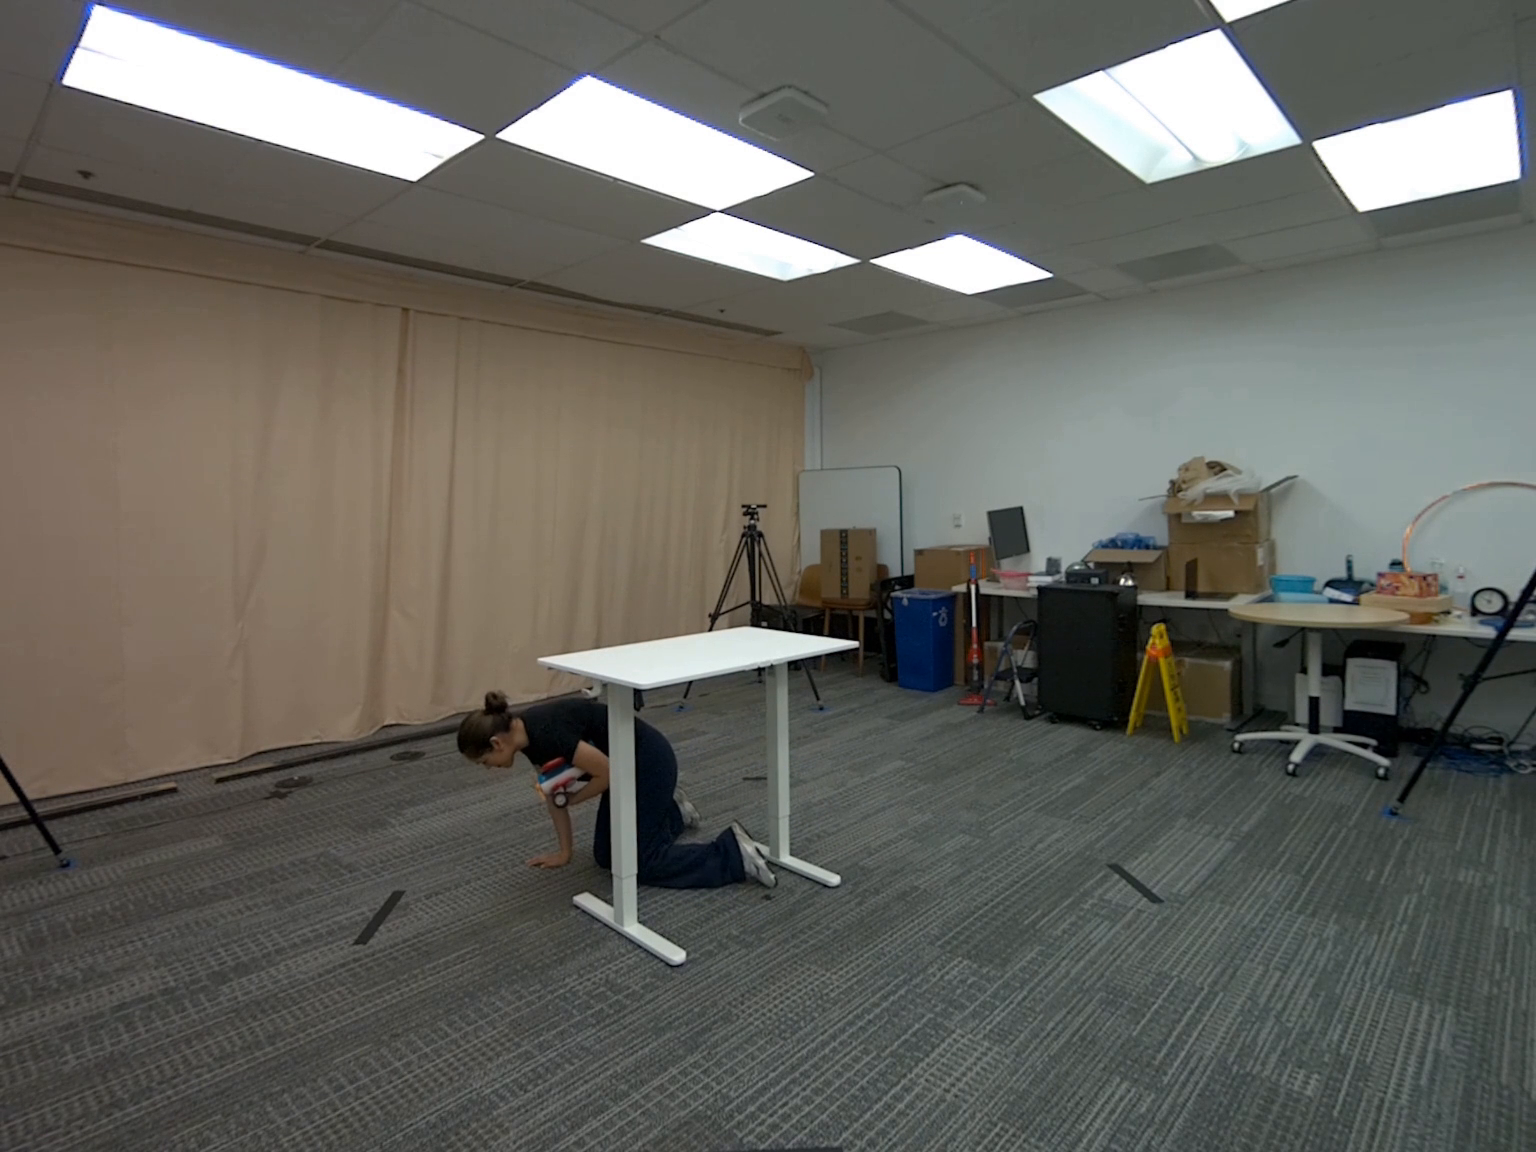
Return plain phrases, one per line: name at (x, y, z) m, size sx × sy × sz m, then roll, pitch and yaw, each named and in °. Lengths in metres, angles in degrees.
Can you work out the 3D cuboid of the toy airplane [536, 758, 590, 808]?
toy airplane at (-0.729, 0.724, 3.095) m, size 0.253 × 0.157 × 0.255 m, roll -45°, pitch -5°, yaw 41°
